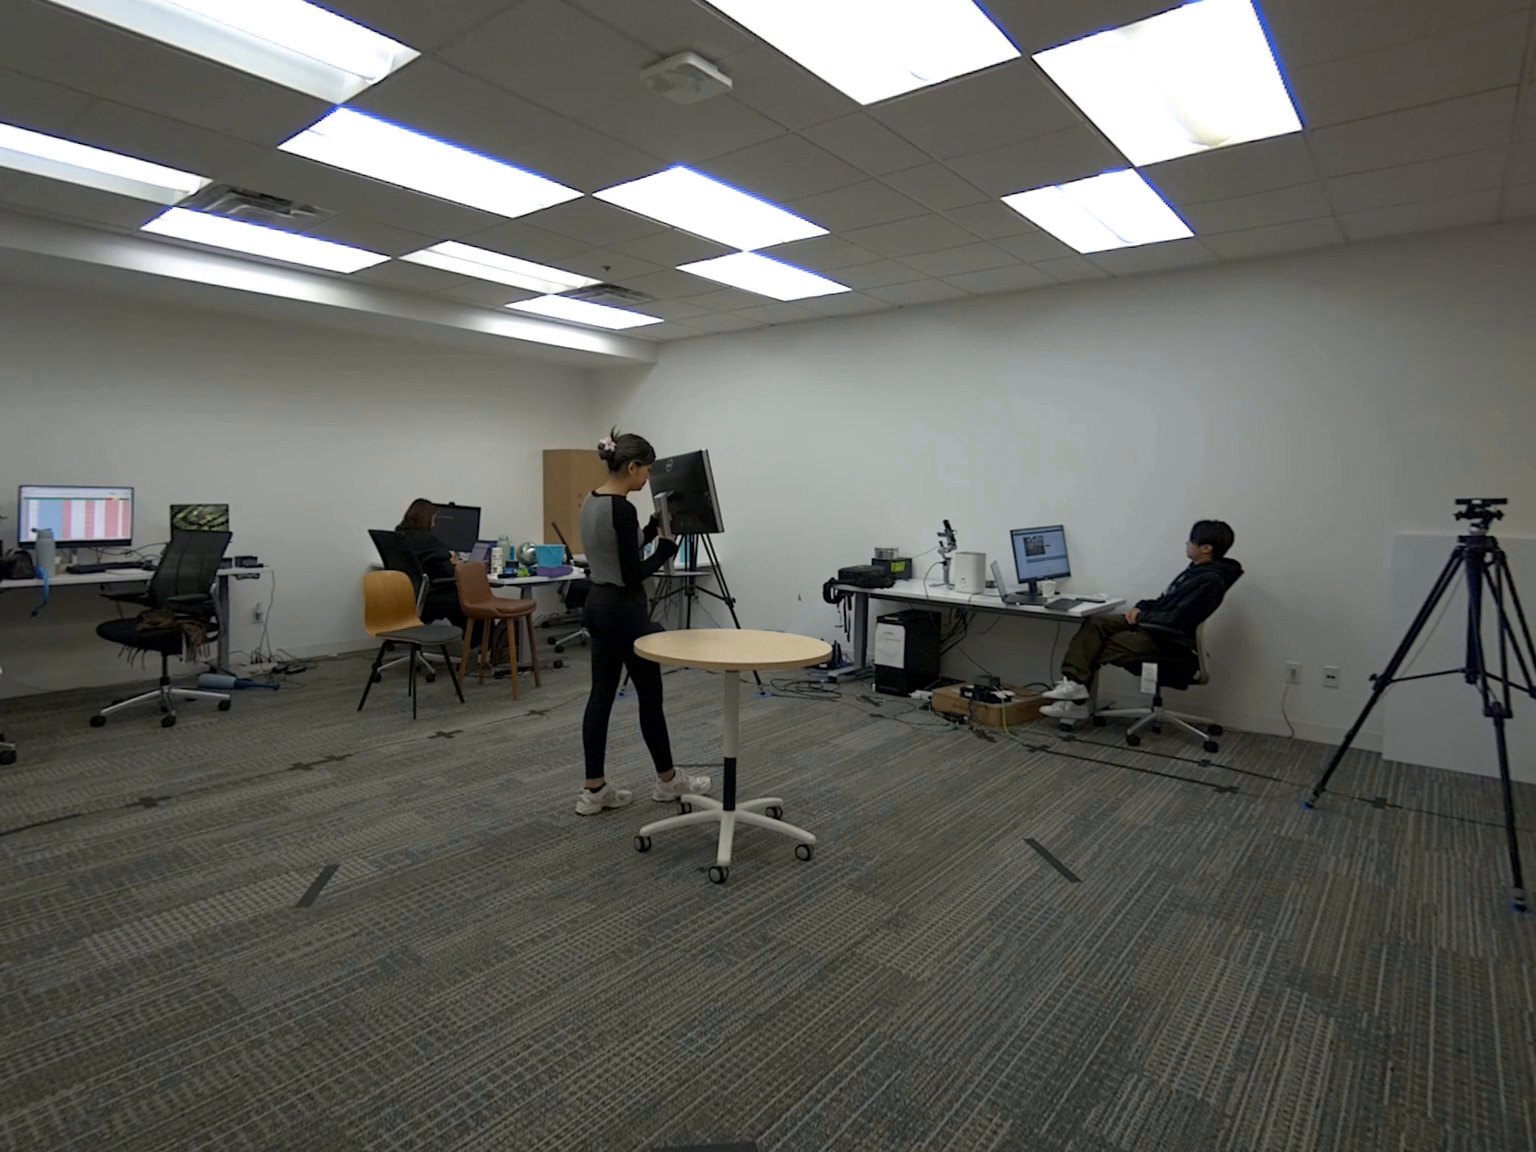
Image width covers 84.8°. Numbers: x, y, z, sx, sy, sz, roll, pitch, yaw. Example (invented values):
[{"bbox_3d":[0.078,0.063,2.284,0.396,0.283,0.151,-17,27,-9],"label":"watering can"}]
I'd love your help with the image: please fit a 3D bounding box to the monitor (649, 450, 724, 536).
[{"bbox_3d":[-0.420,-0.275,3.807,0.182,0.522,0.555,-1,1,-35],"label":"monitor"}]
